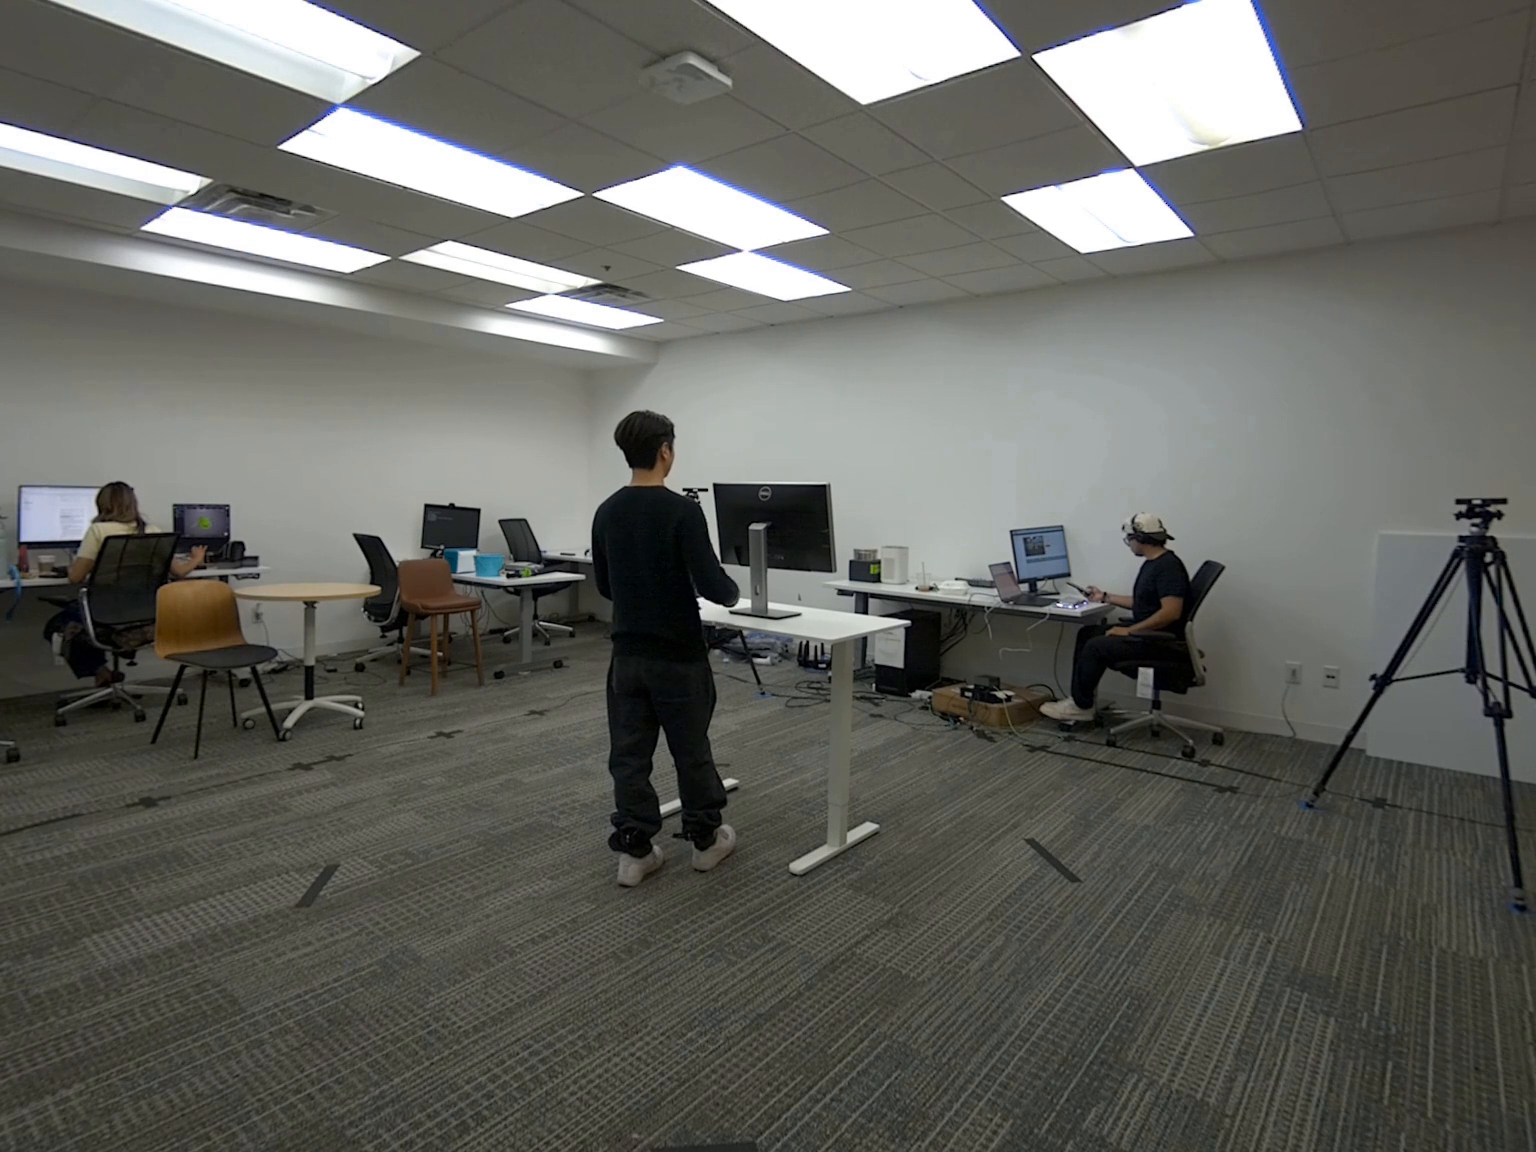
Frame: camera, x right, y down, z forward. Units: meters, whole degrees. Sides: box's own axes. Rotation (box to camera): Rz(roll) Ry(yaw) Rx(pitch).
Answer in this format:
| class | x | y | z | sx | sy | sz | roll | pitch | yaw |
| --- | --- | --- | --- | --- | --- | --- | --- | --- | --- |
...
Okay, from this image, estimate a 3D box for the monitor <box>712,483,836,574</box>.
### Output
| class | x | y | z | sx | sy | sz | roll | pitch | yaw |
| --- | --- | --- | --- | --- | --- | --- | --- | --- | --- |
| monitor | -0.011 | -0.116 | 3.480 | 0.546 | 0.517 | 0.169 | 1 | -3 | 34 |
